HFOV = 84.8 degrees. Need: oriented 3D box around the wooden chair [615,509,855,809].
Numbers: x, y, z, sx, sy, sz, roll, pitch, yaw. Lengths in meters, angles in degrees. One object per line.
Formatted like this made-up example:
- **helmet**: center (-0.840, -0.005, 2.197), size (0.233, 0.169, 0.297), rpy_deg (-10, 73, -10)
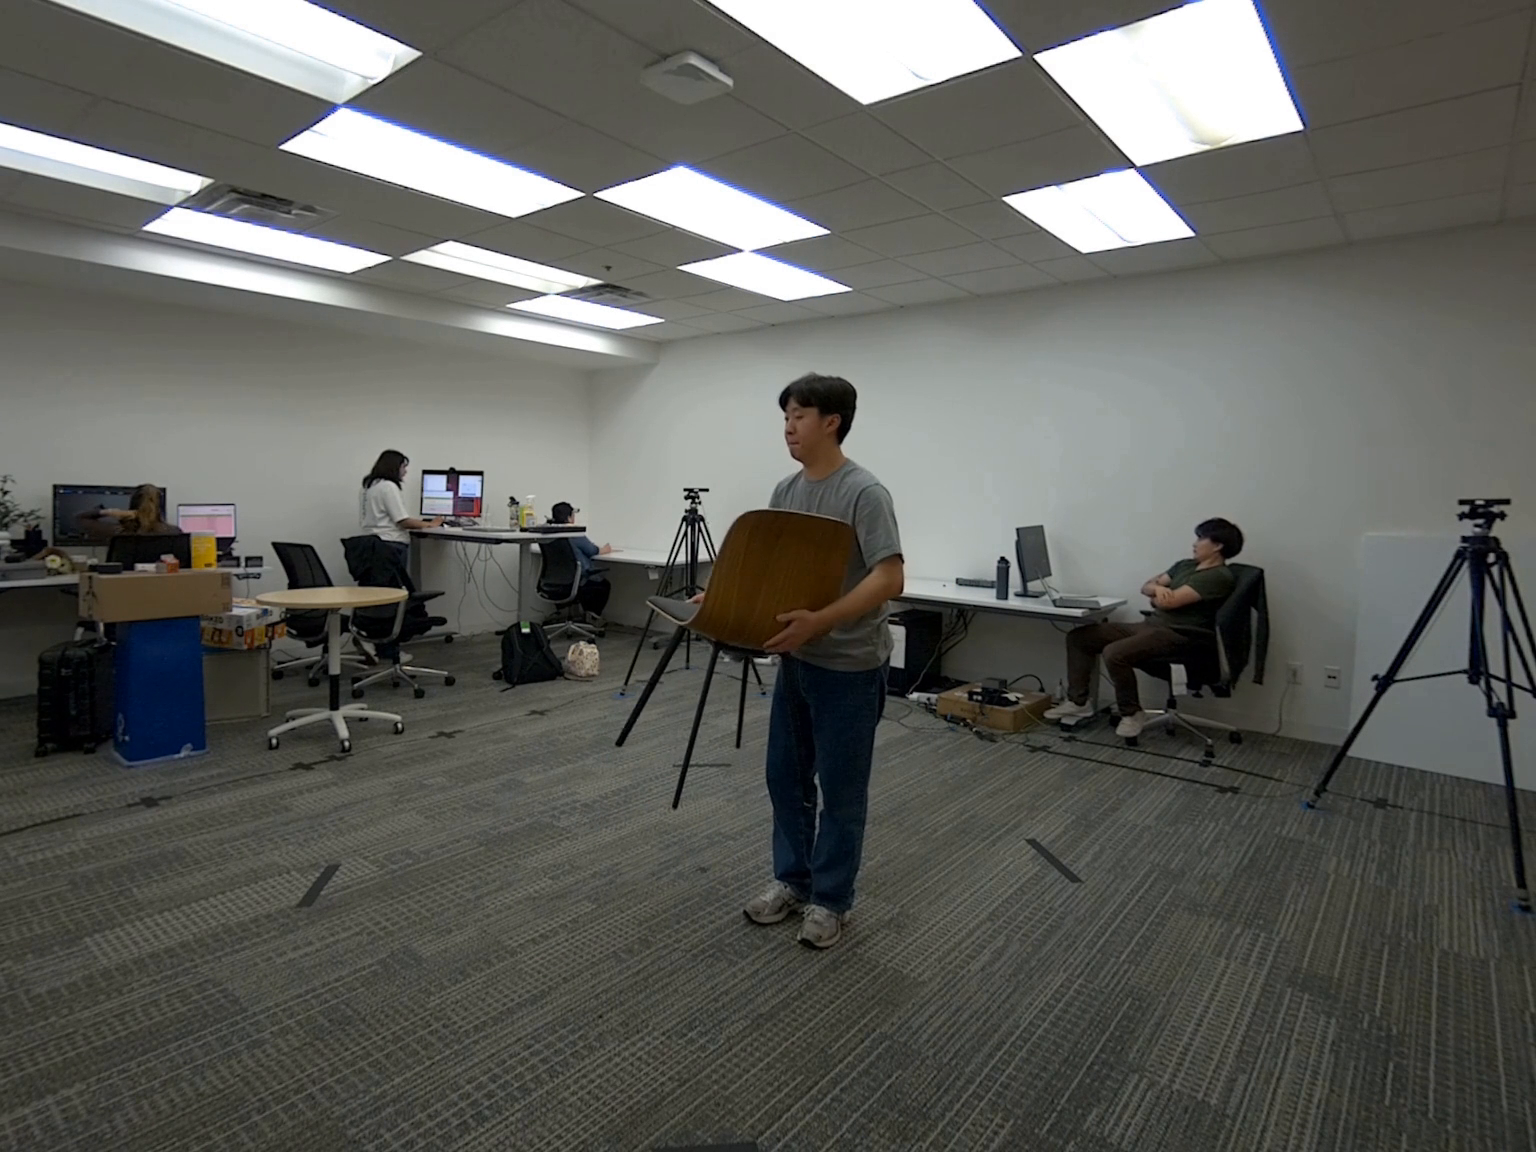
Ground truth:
- **wooden chair**: center (-0.118, 0.181, 2.535), size (0.464, 0.872, 0.542), rpy_deg (8, 9, -30)
